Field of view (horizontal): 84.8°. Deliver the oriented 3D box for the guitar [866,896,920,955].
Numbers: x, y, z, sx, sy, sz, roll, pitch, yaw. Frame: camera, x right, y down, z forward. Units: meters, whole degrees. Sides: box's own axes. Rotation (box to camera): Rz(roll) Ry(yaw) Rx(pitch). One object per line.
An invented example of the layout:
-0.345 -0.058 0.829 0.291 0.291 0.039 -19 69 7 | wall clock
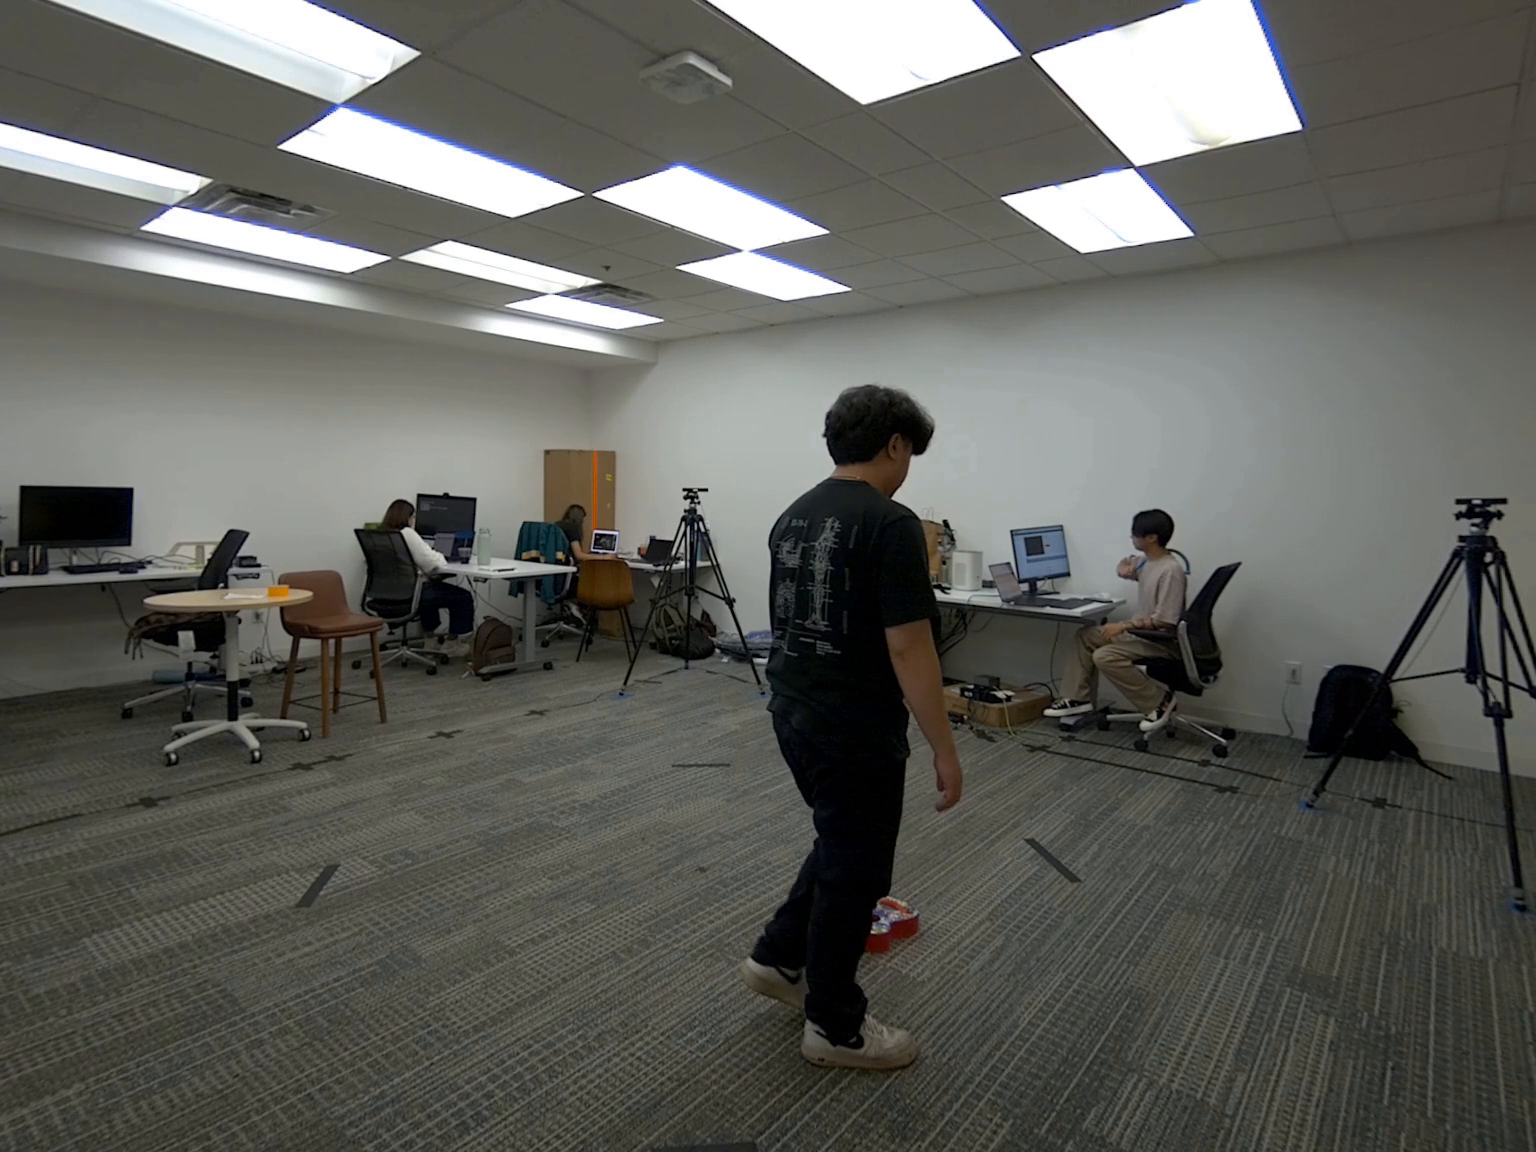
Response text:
0.263 1.094 2.624 0.482 0.070 0.200 -3 7 -44 | guitar
